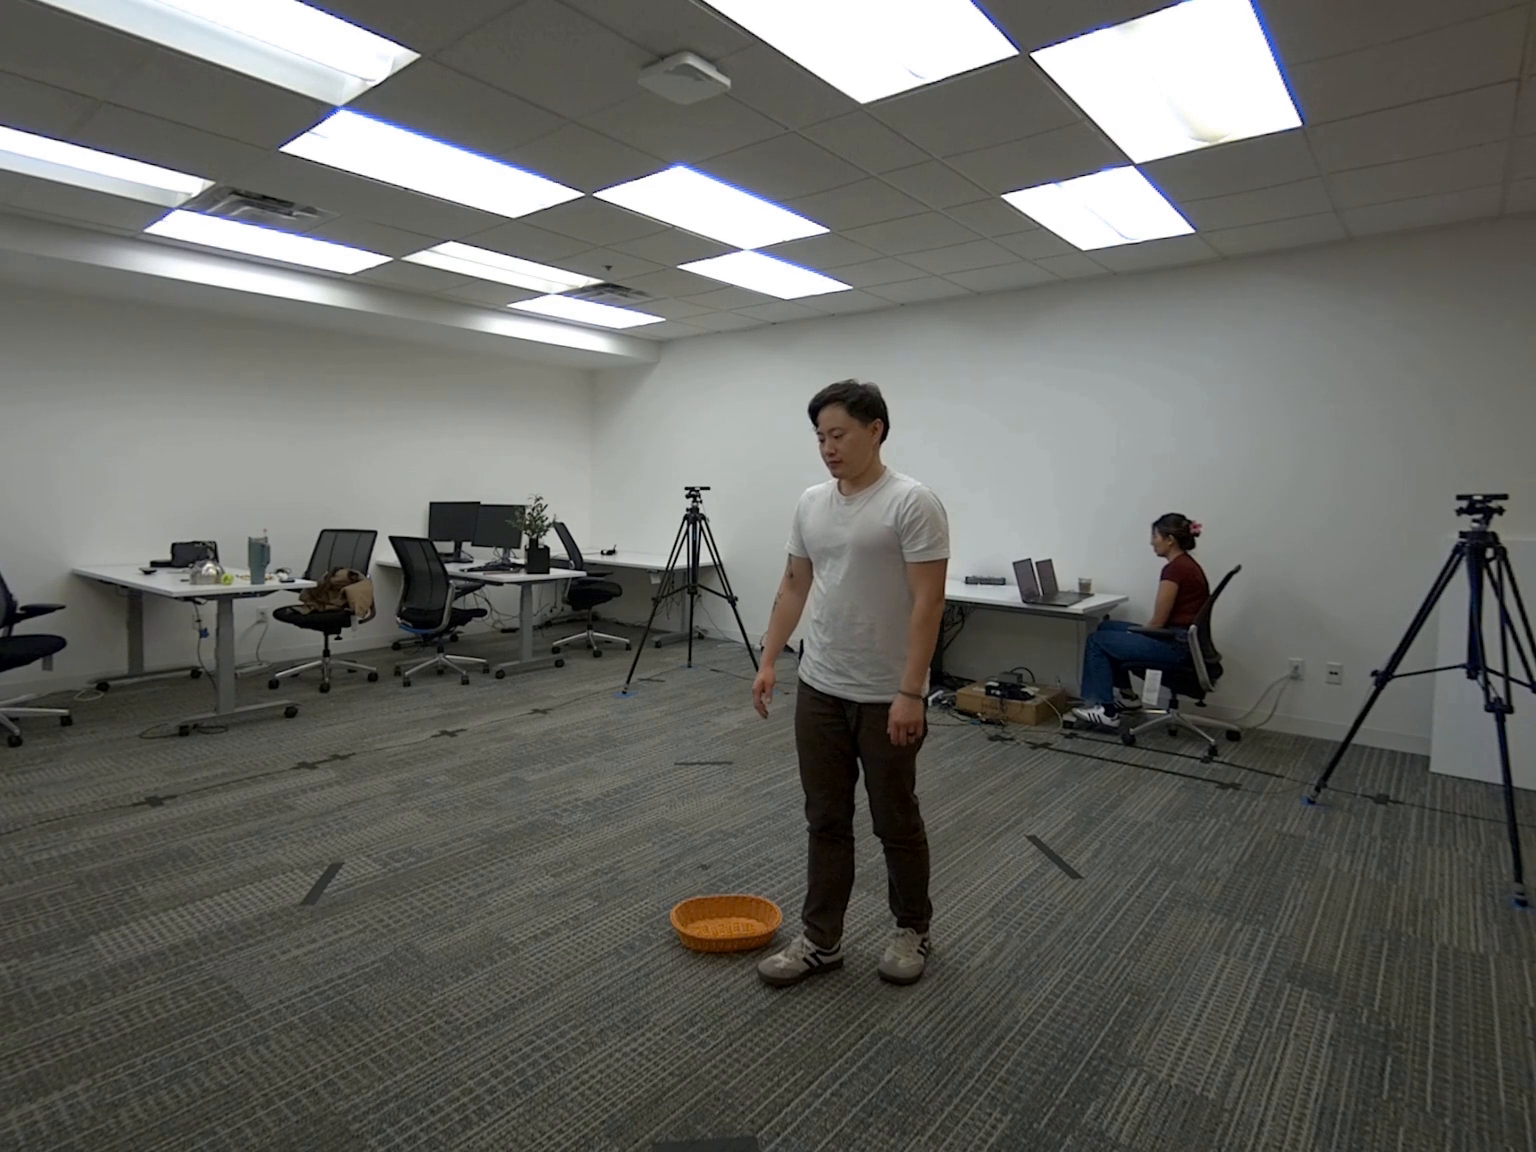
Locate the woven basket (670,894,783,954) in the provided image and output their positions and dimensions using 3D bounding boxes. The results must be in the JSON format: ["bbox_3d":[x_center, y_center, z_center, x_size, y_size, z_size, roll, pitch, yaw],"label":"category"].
[{"bbox_3d":[-0.136,1.075,2.625,0.347,0.073,0.256,0,6,-9],"label":"woven basket"}]
